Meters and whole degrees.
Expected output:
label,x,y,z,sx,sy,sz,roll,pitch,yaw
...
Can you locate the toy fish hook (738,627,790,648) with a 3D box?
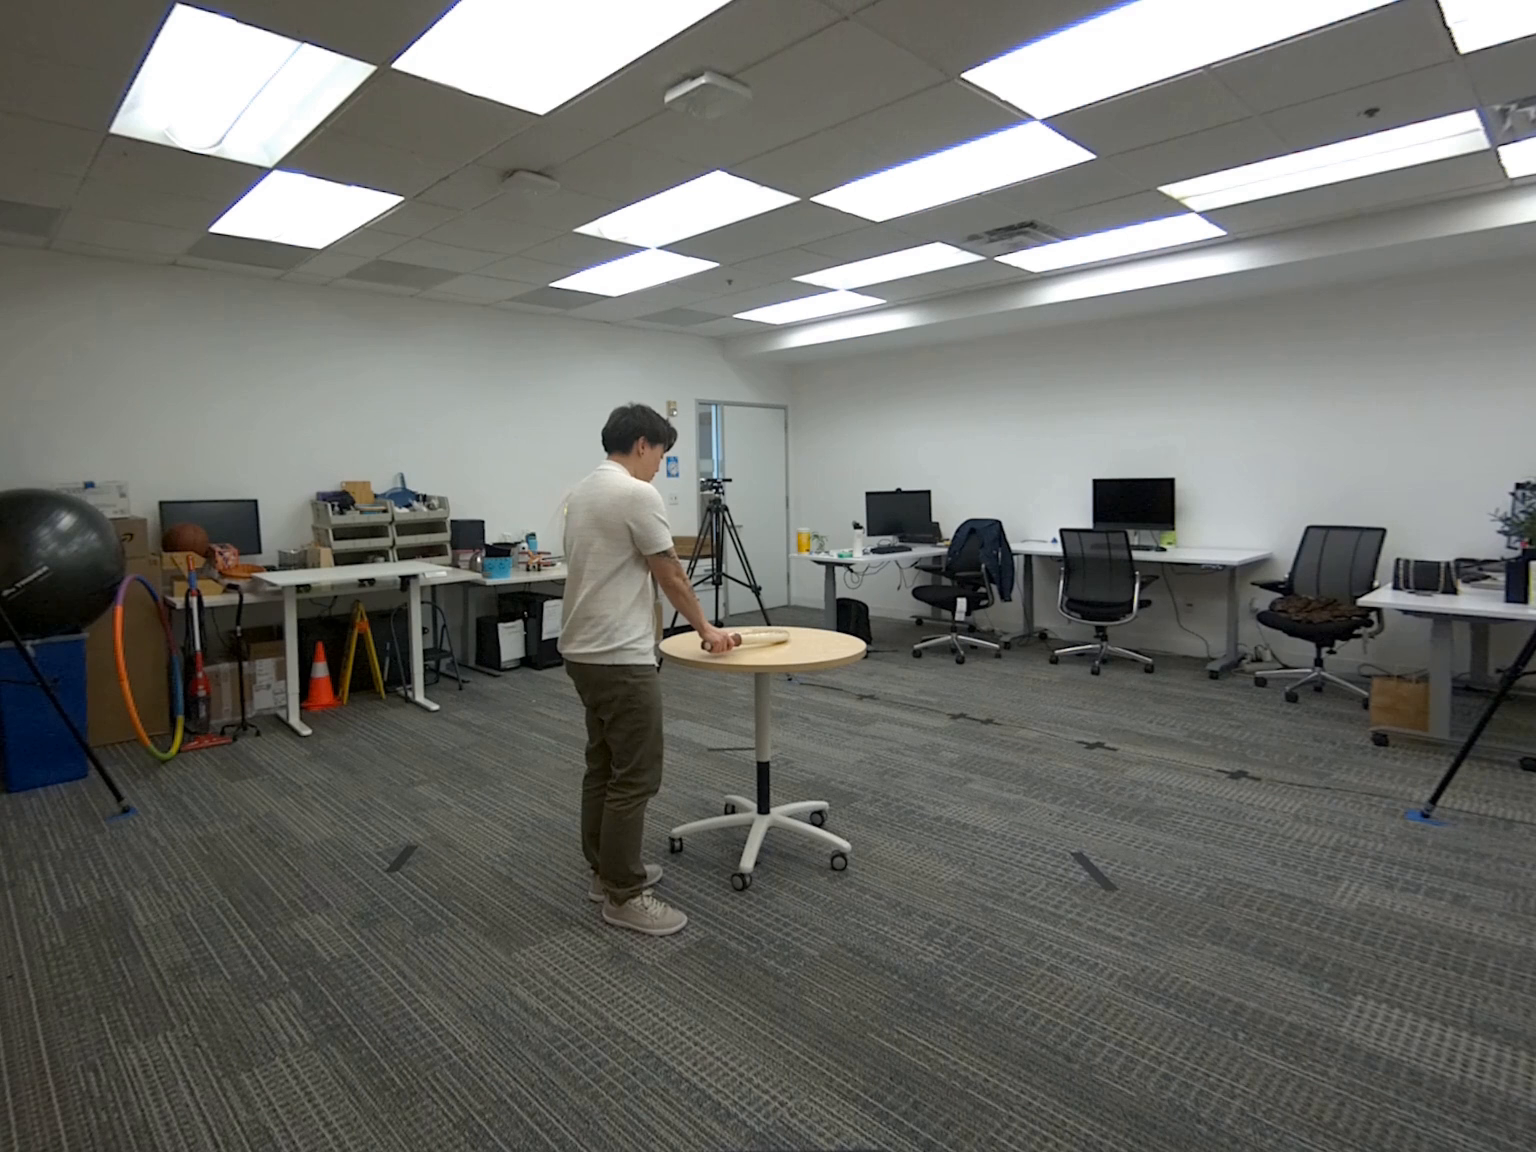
label,x,y,z,sx,sy,sz,roll,pitch,yaw
toy fish hook,-0.115,0.236,3.118,0.230,0.048,0.493,-2,0,36
